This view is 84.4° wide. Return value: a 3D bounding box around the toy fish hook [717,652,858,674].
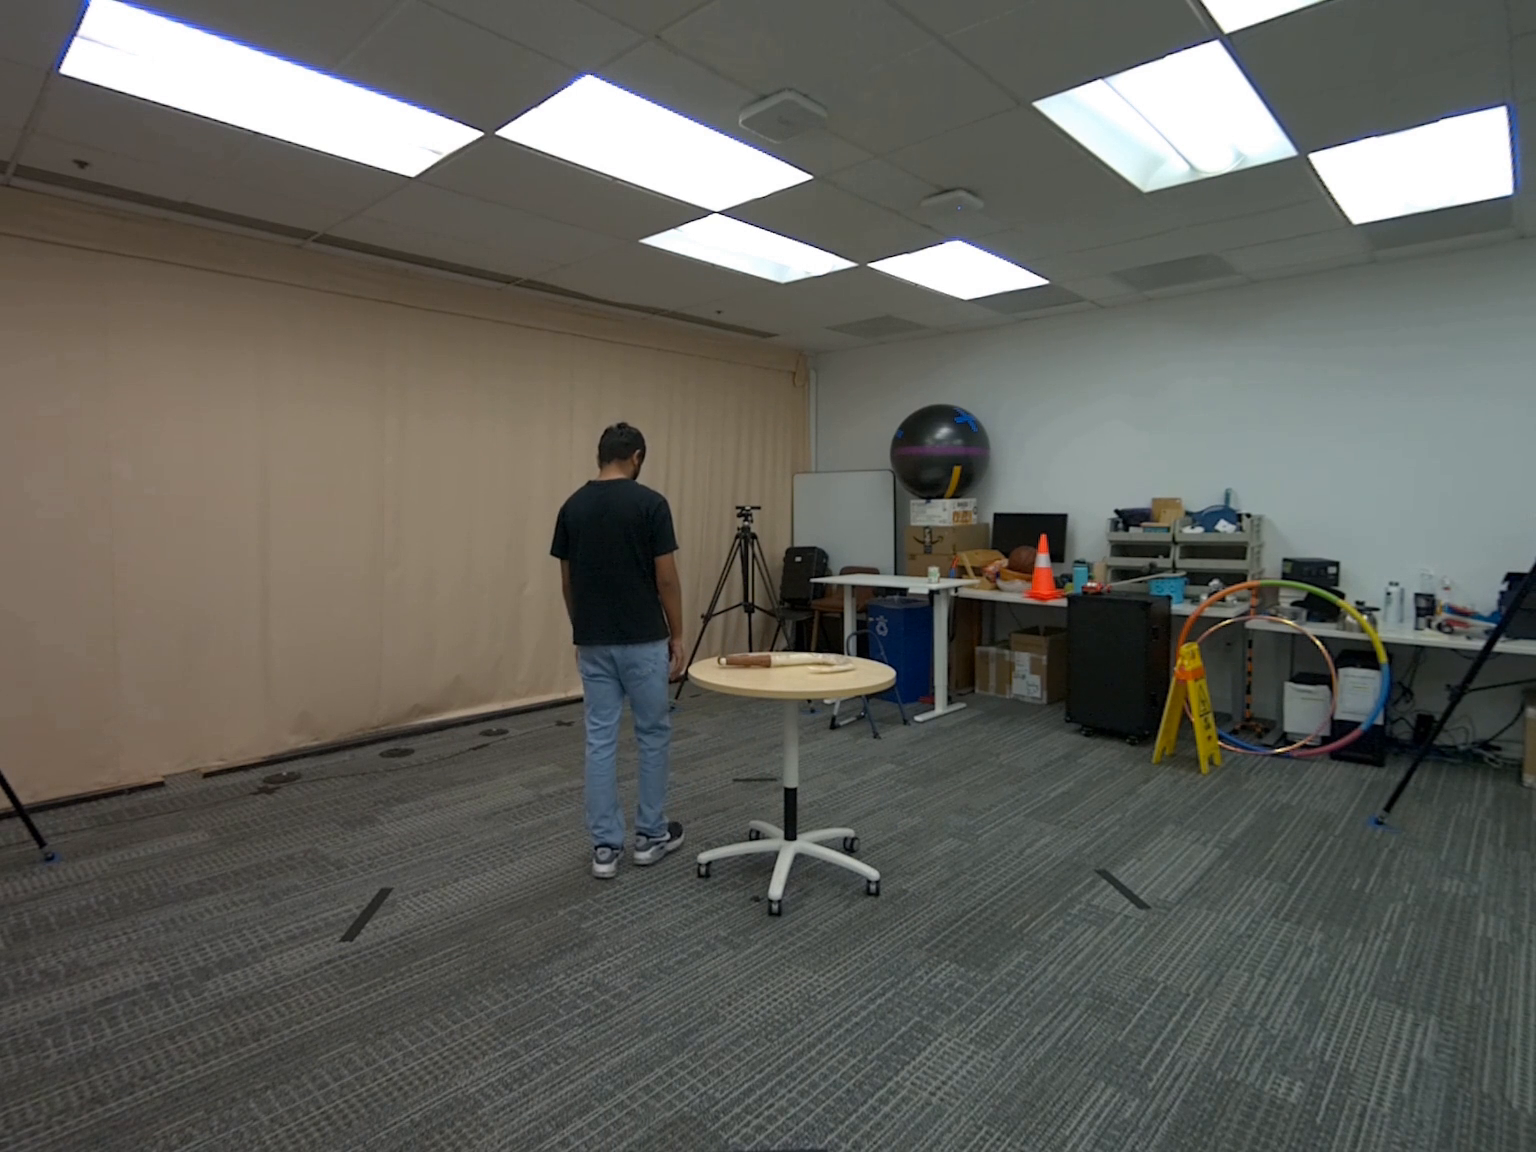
[{"bbox_3d":[0.074,0.328,3.128,0.502,0.048,0.226,0,2,-8],"label":"toy fish hook"}]
